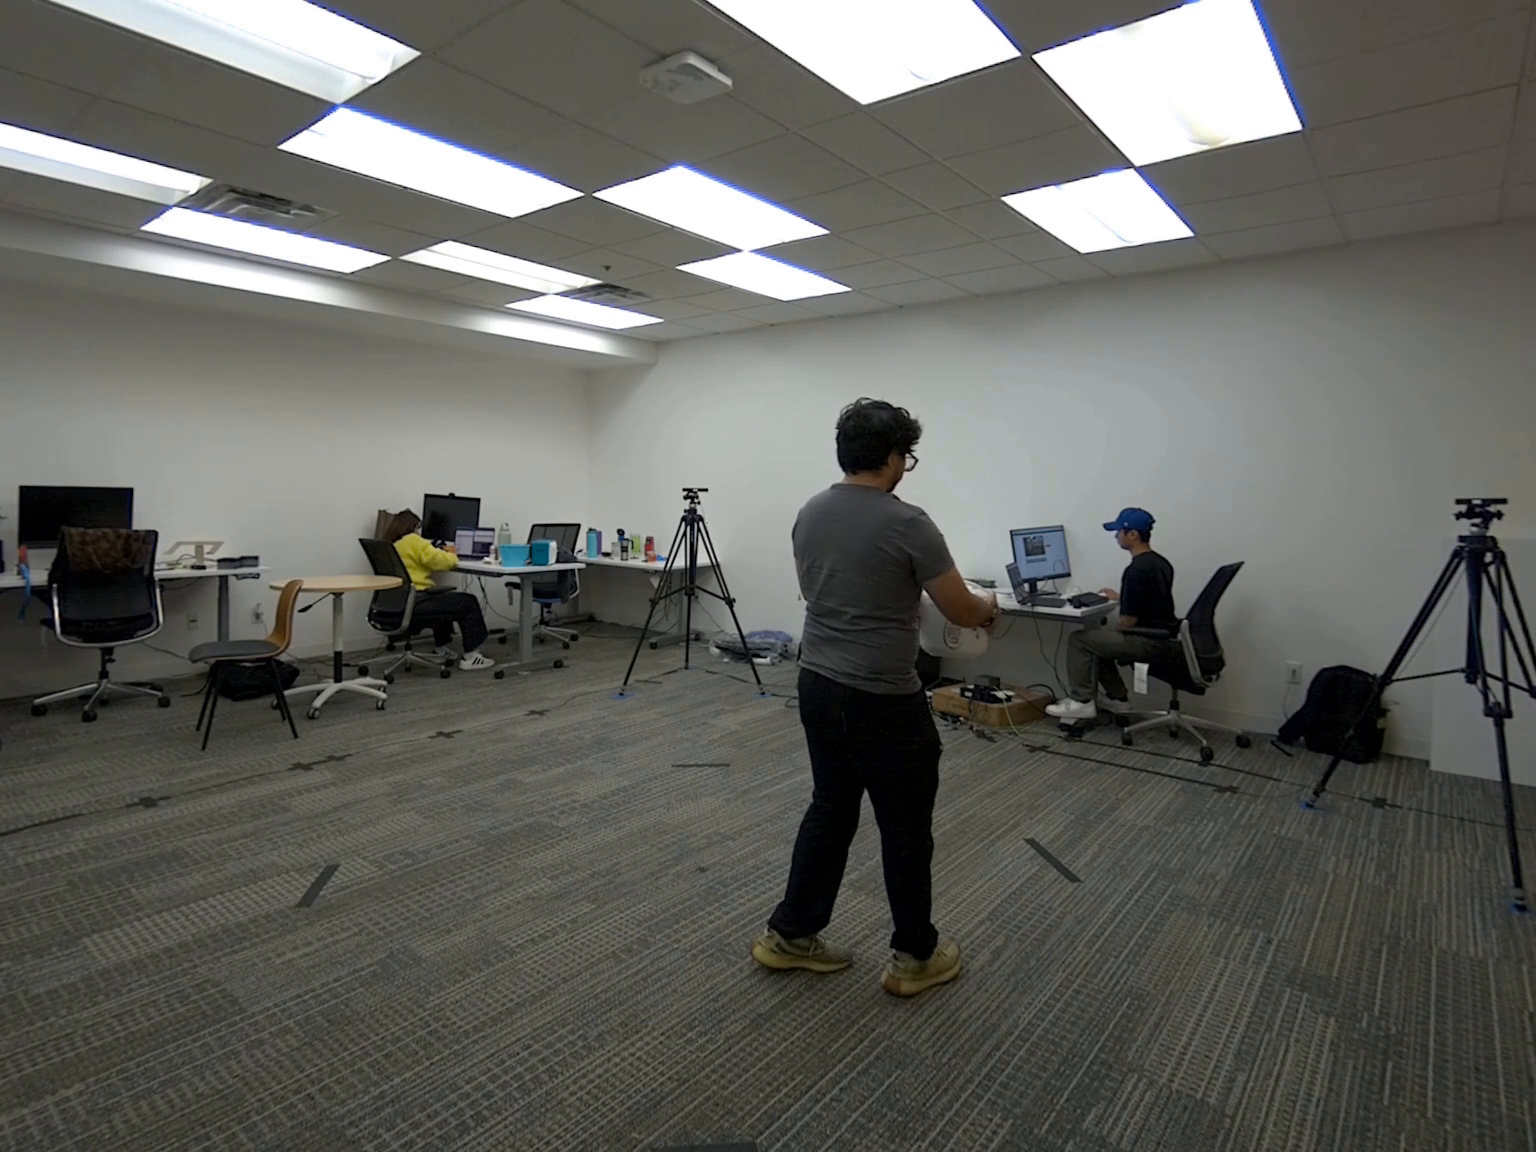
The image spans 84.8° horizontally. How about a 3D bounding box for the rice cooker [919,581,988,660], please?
[{"bbox_3d":[0.570,0.123,2.626,0.224,0.232,0.215,1,4,12],"label":"rice cooker"}]
